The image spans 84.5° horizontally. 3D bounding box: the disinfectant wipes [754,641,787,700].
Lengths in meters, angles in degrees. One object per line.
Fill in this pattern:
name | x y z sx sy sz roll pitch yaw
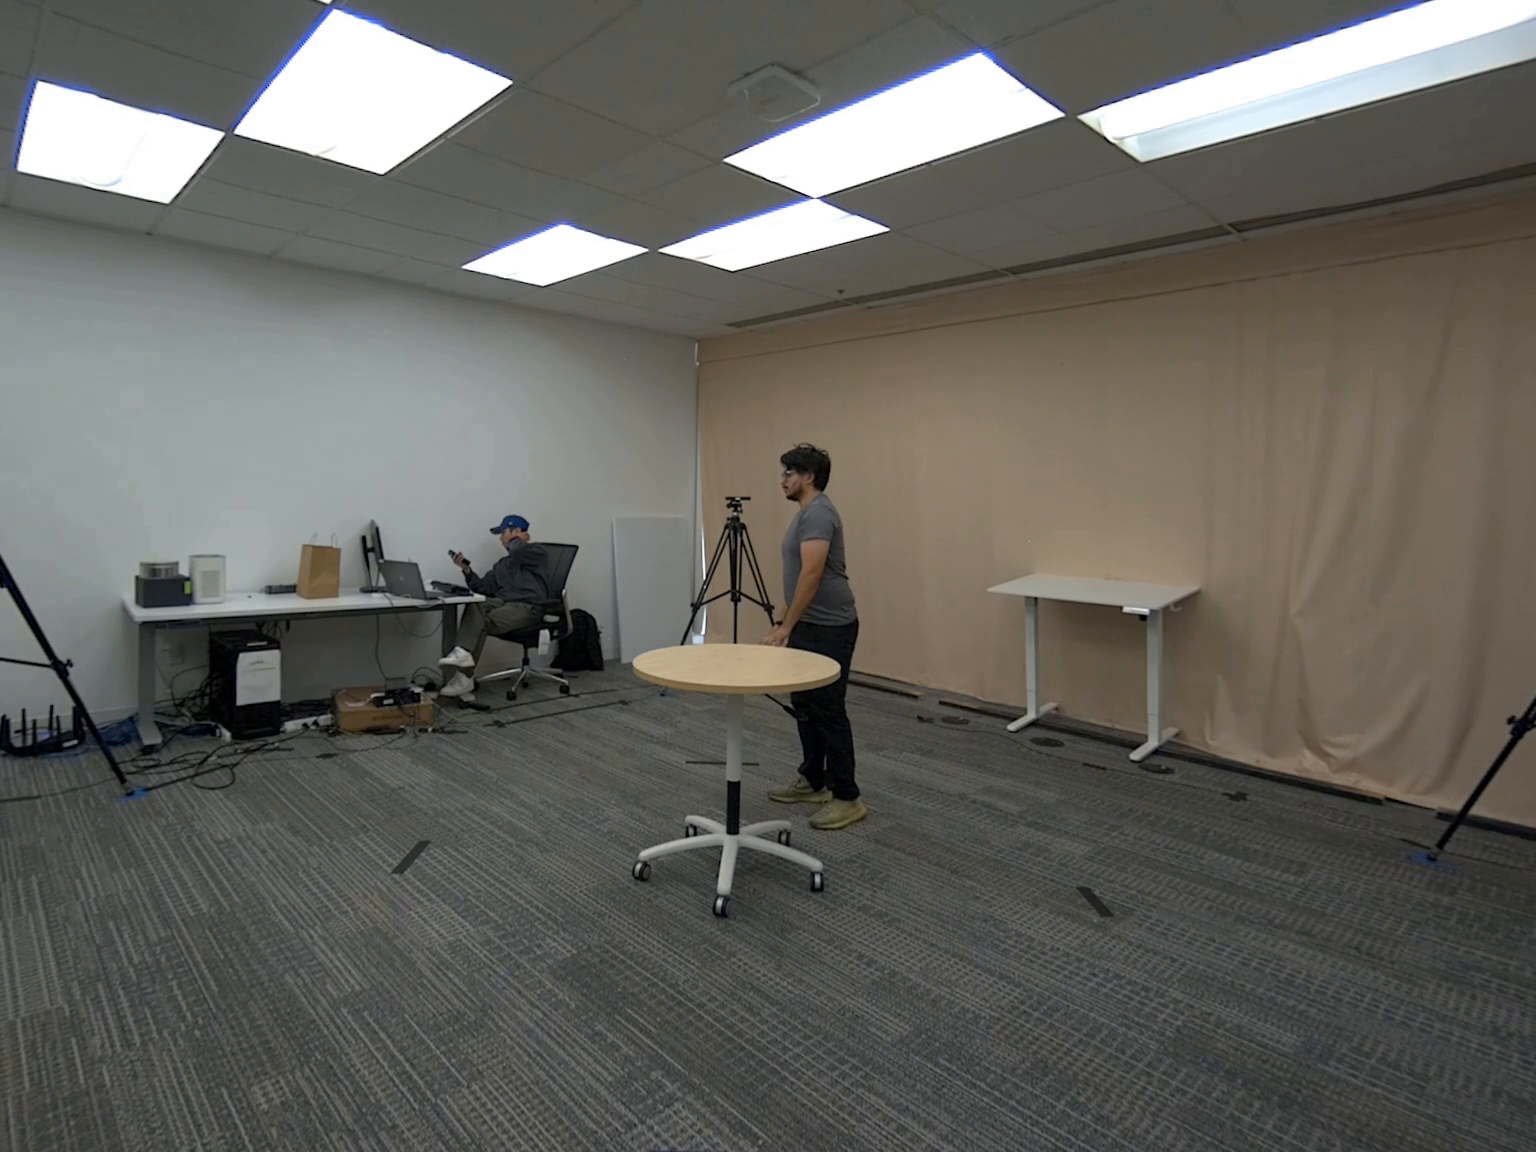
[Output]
disinfectant wipes | 0.007 0.406 3.665 0.118 0.216 0.118 3 8 -2
